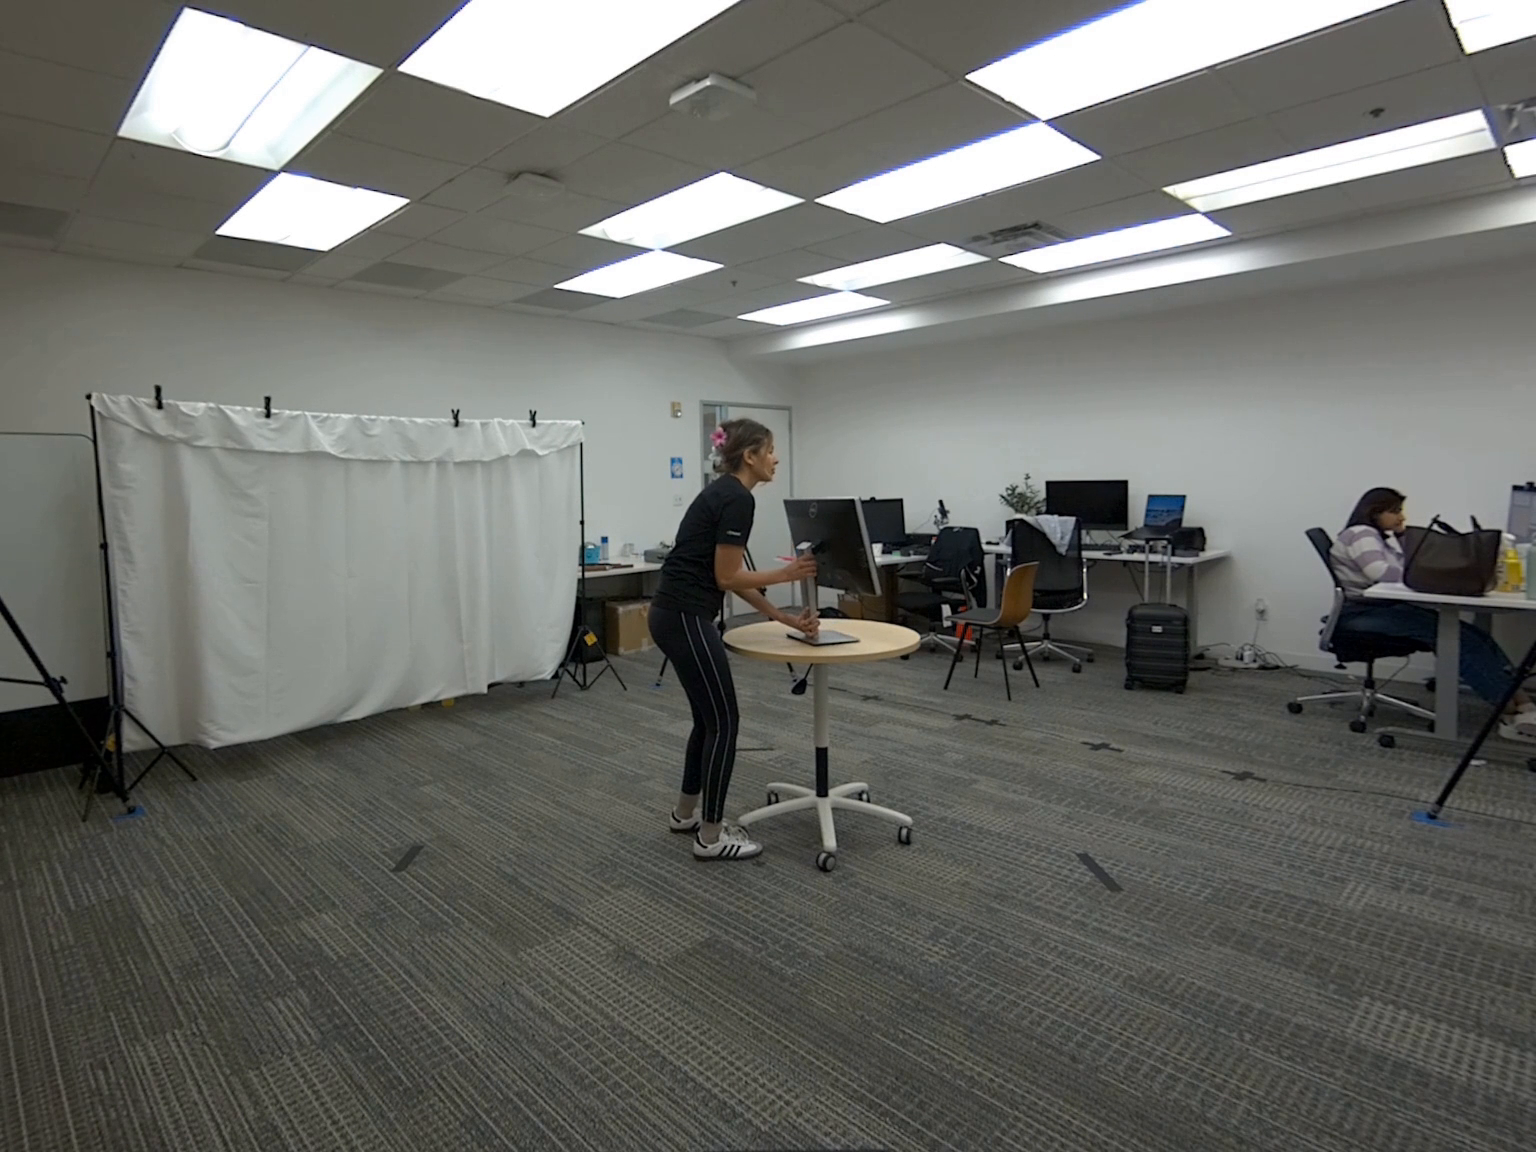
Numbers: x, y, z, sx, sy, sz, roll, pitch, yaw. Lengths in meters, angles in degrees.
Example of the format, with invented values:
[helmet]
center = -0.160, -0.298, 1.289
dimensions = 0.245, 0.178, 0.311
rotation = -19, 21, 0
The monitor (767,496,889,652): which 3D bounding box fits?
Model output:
[monitor]
center = 0.214, -0.032, 3.266
dimensions = 0.183, 0.520, 0.553
rotation = -4, 7, -27
